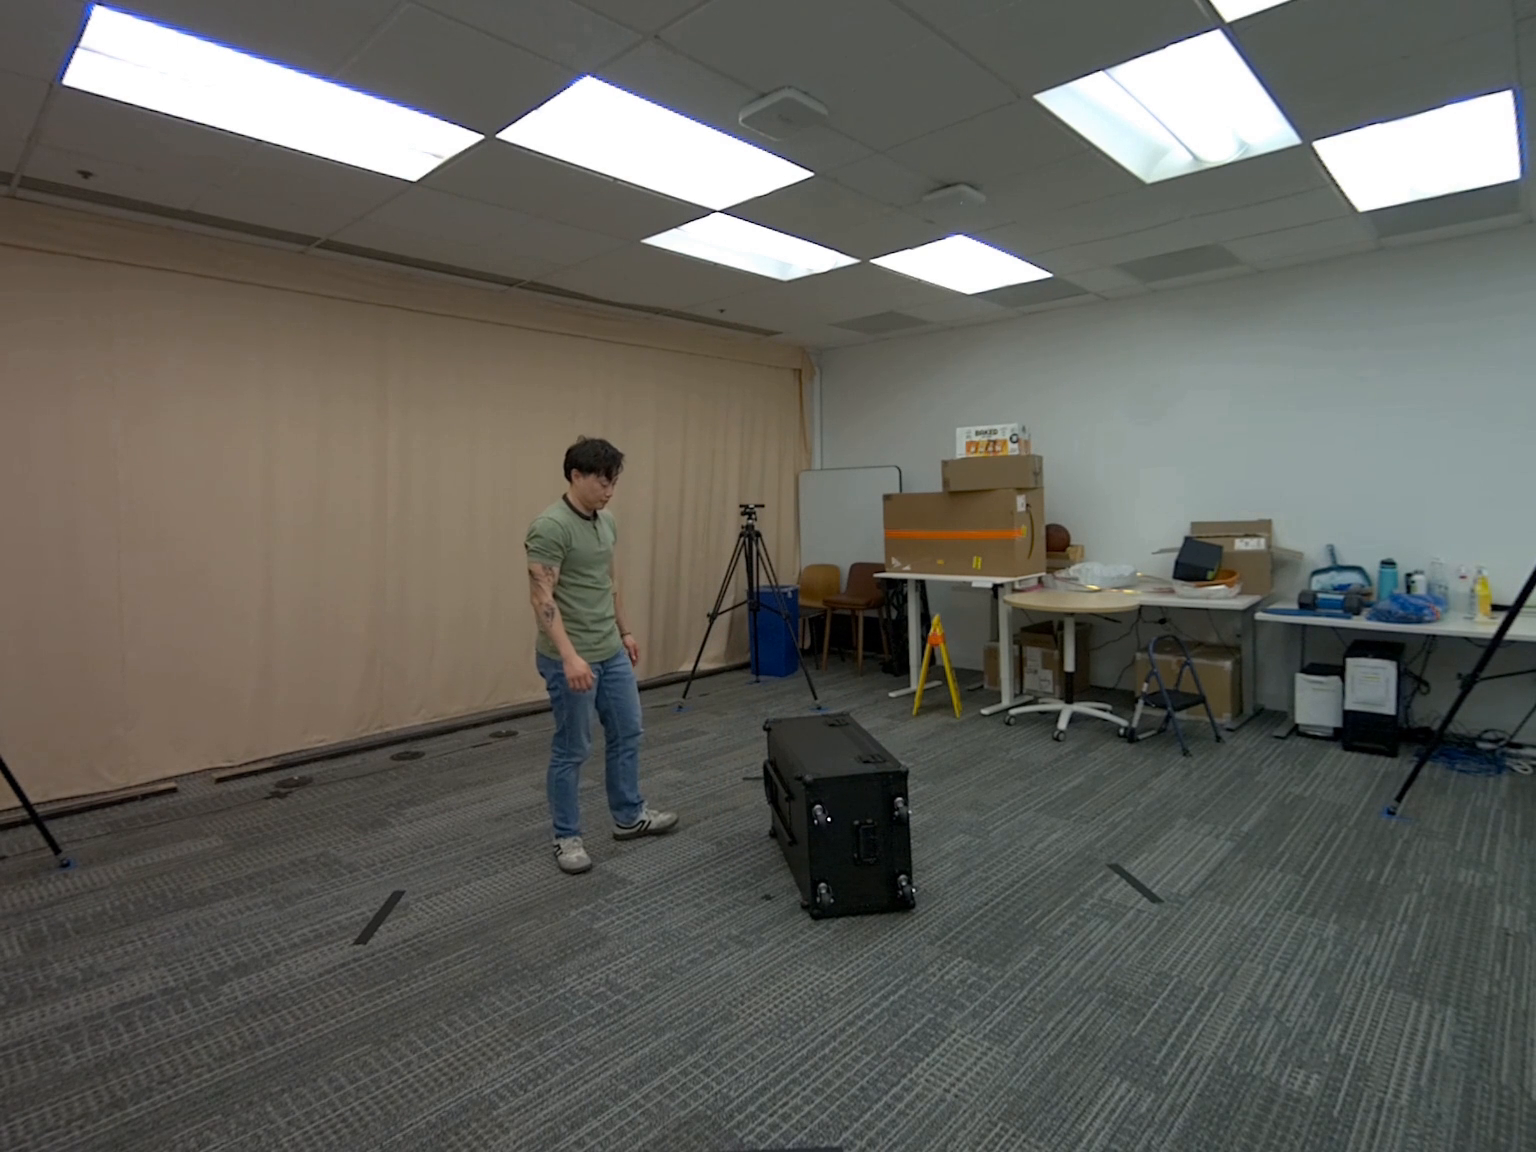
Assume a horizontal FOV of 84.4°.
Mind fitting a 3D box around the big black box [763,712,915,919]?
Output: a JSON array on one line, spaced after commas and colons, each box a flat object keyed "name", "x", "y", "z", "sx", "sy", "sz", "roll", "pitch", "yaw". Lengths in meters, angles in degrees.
[{"name": "big black box", "x": 0.240, "y": 0.863, "z": 3.162, "sx": 0.393, "sy": 0.520, "sz": 0.871, "roll": -4, "pitch": 4, "yaw": -9}]
